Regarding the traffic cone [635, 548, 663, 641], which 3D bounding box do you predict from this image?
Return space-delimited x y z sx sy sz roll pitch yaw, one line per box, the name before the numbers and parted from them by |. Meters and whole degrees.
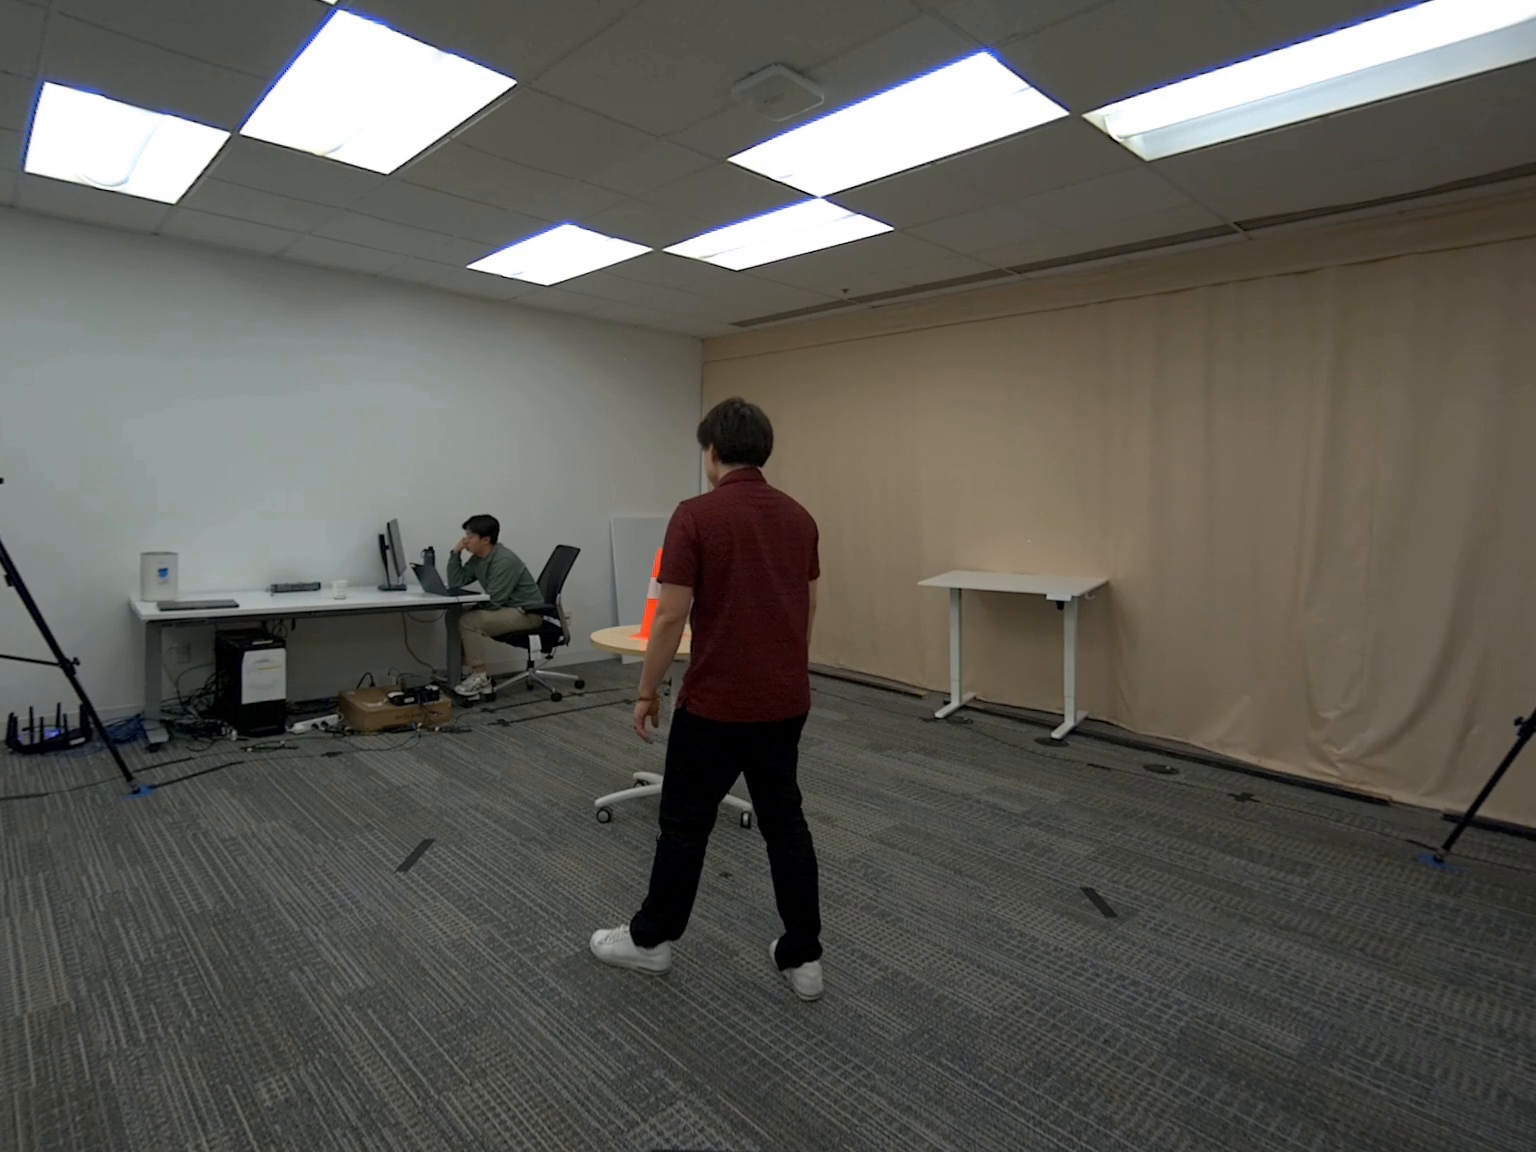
traffic cone | -0.482 0.077 3.659 0.205 0.383 0.203 3 2 12
